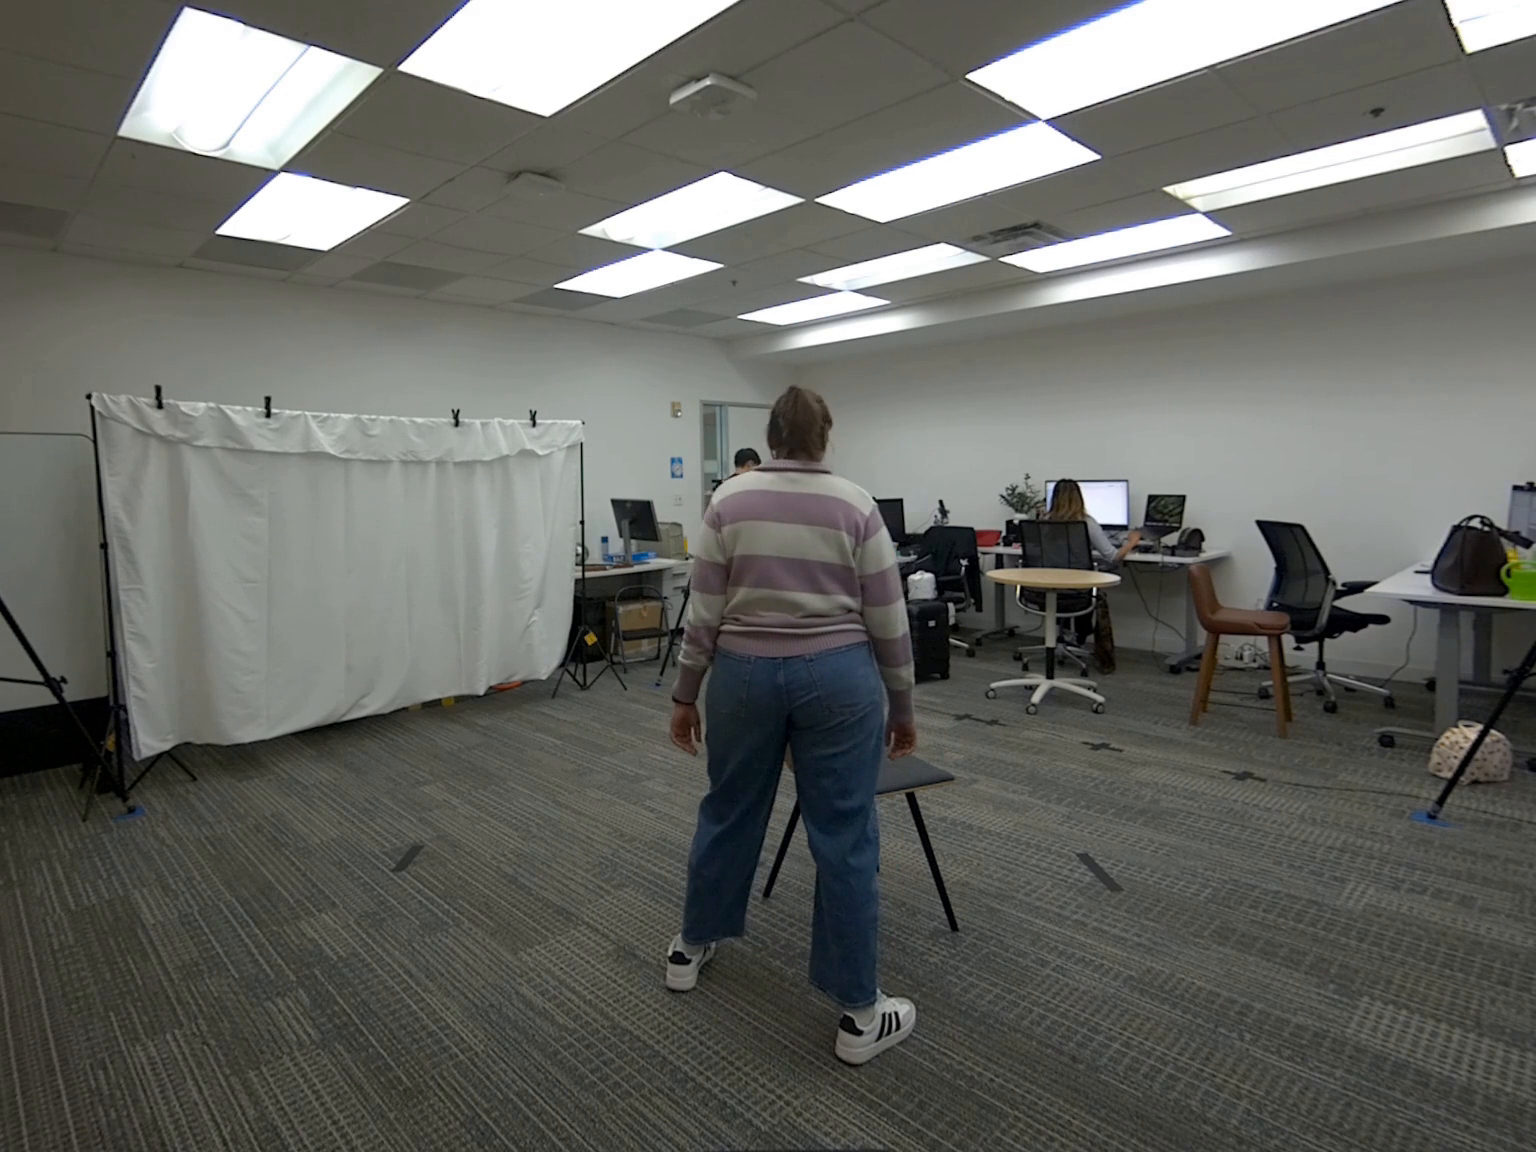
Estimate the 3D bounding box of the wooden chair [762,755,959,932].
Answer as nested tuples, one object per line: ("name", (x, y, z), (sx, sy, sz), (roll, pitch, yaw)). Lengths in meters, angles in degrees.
("wooden chair", (0.291, 0.661, 2.713), (0.513, 0.873, 0.490), (-7, 6, -24))
